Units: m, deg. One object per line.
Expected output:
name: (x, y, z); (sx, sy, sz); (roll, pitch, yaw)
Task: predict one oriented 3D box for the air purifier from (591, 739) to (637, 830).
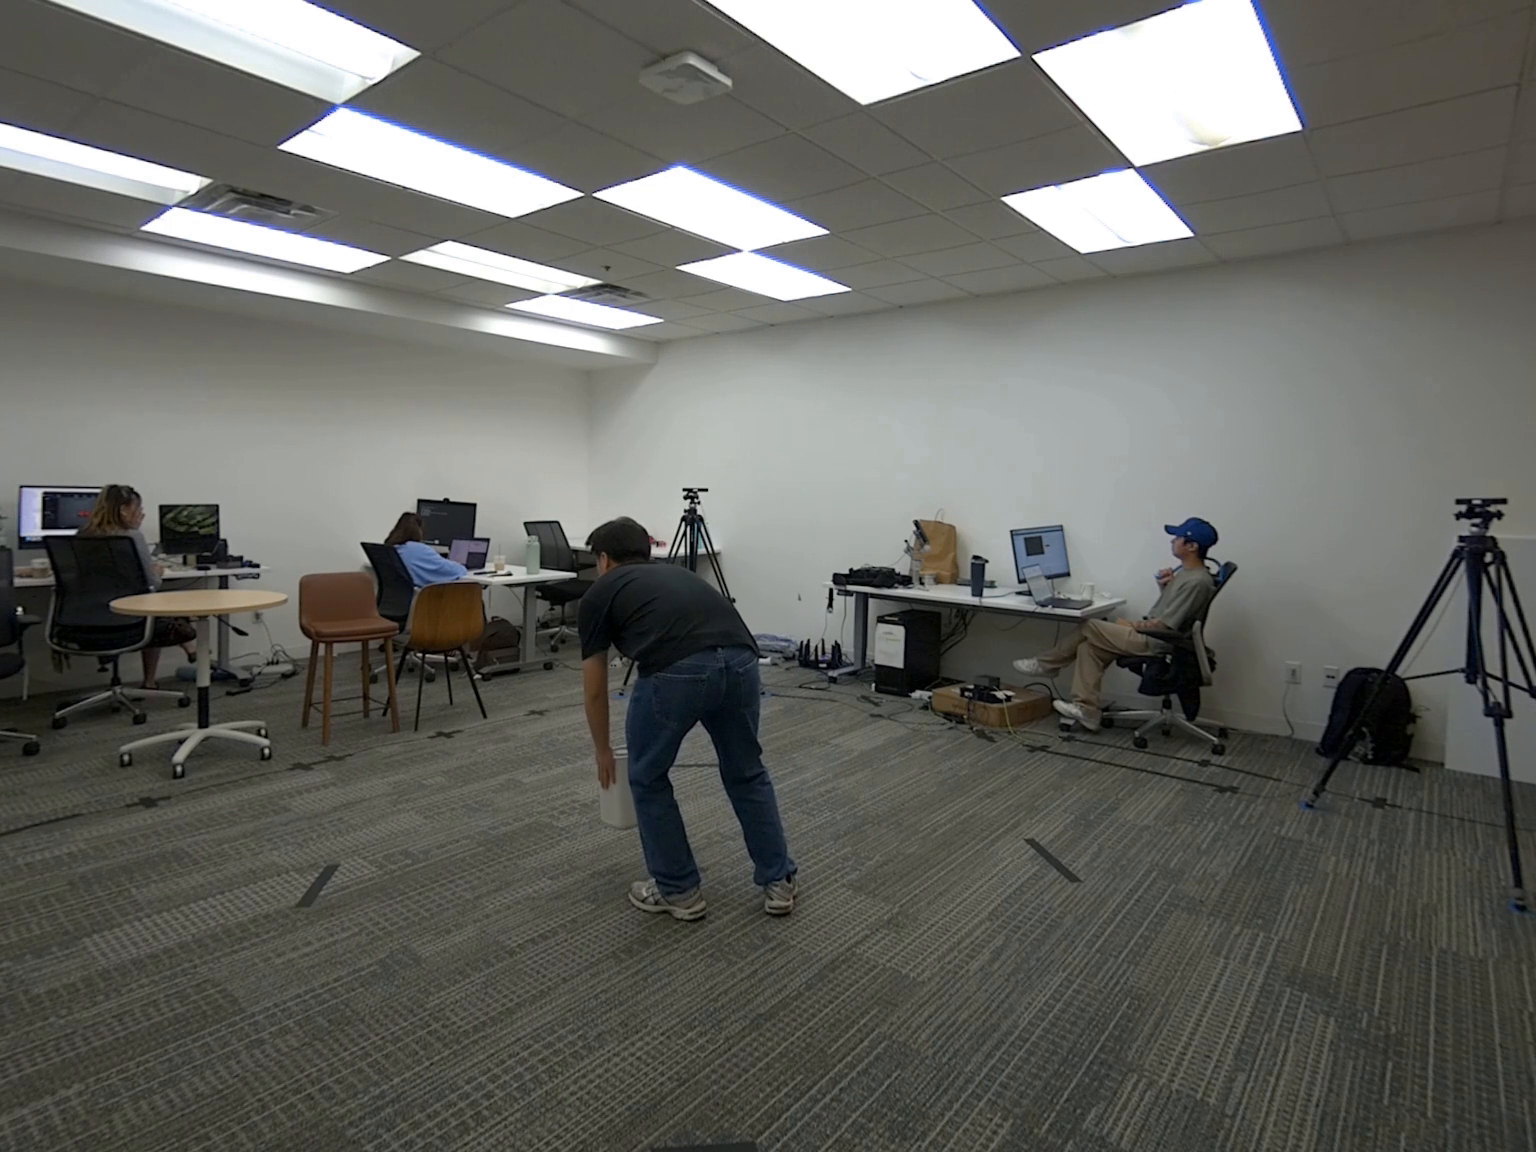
air purifier: (-0.531, 0.761, 3.117); (0.166, 0.265, 0.177); (-2, 1, -44)
